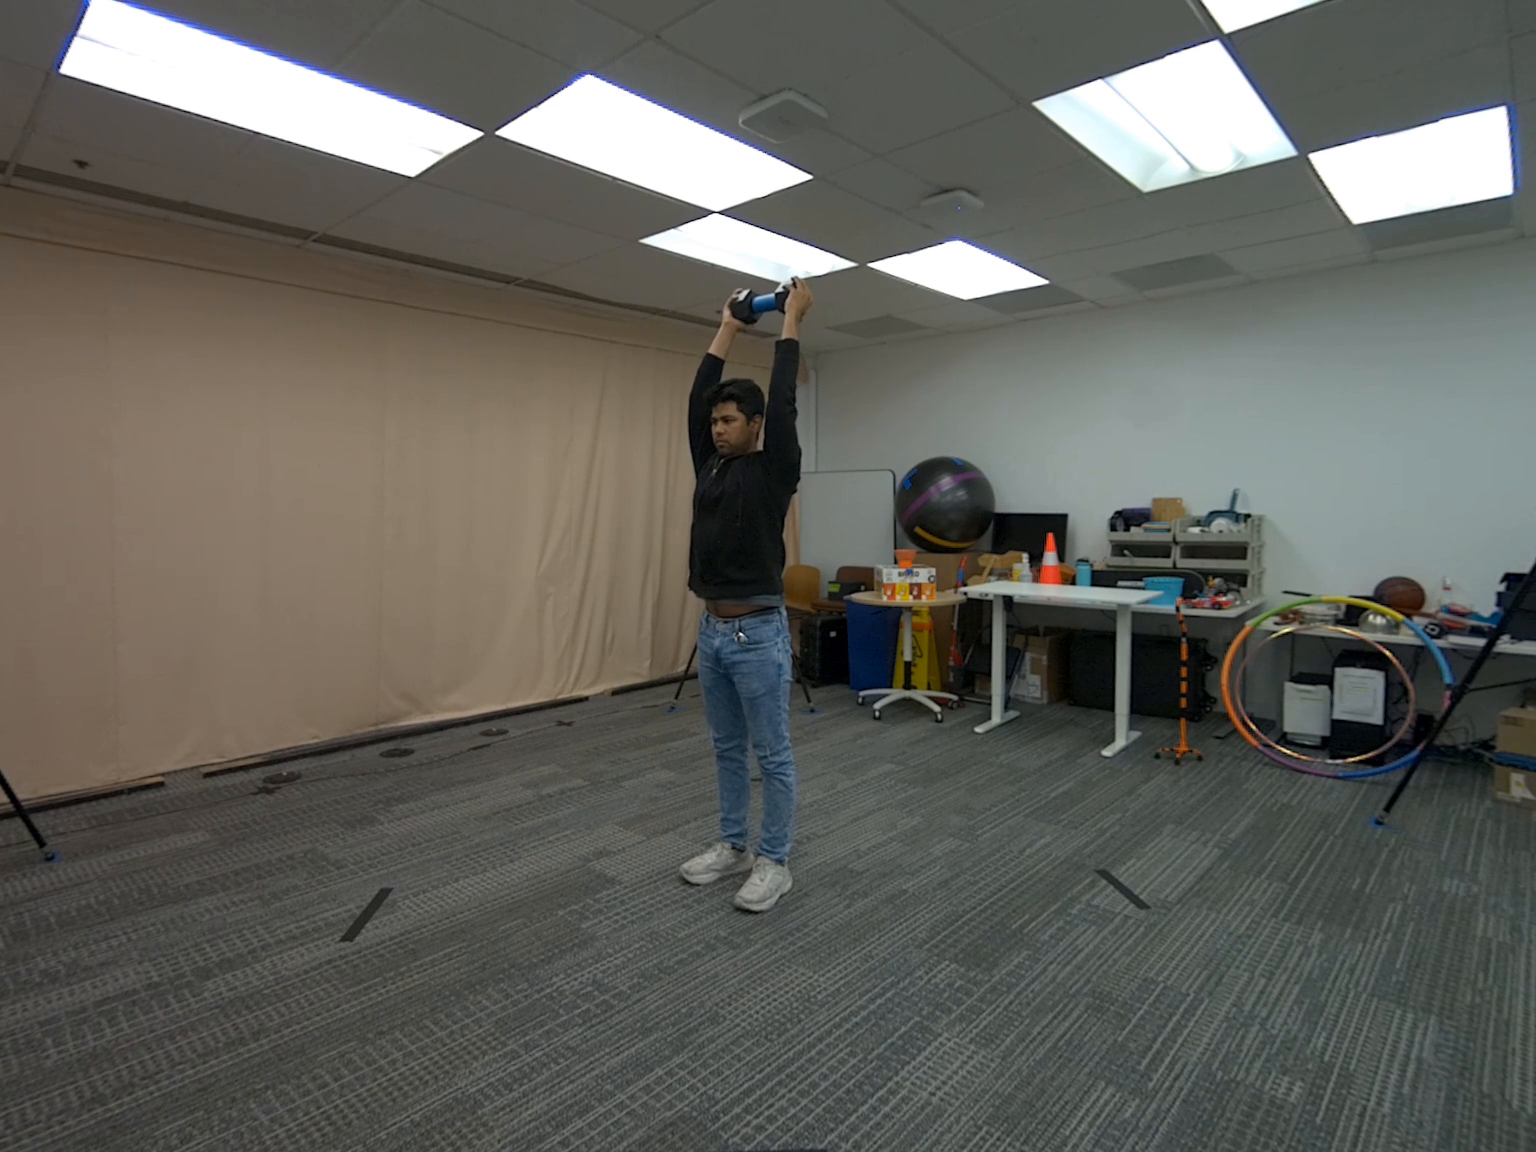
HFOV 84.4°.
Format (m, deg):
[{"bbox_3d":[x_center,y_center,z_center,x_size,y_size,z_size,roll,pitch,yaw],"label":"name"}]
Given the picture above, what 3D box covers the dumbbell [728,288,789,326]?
[{"bbox_3d":[0.006,-0.990,3.040,0.304,0.109,0.118,7,-9,45],"label":"dumbbell"}]
